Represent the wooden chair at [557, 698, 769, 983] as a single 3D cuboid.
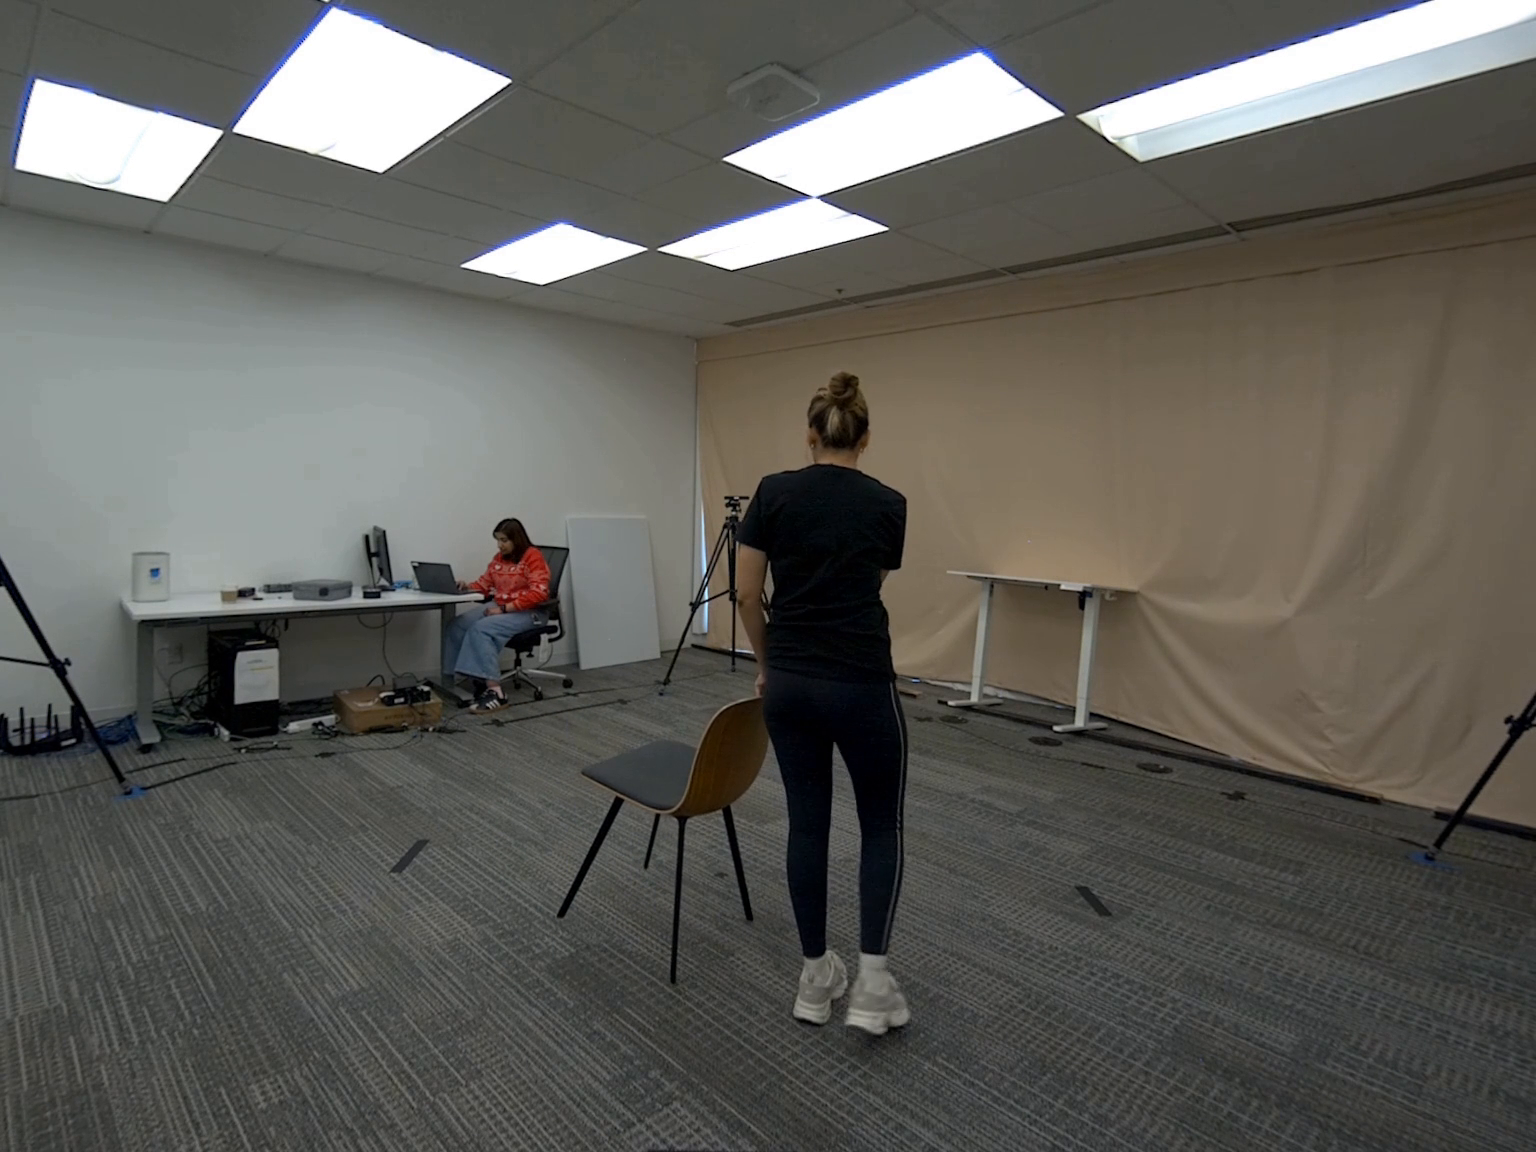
[{"bbox_3d":[-0.297,0.686,2.641,0.536,0.872,0.468,18,12,29],"label":"wooden chair"}]
